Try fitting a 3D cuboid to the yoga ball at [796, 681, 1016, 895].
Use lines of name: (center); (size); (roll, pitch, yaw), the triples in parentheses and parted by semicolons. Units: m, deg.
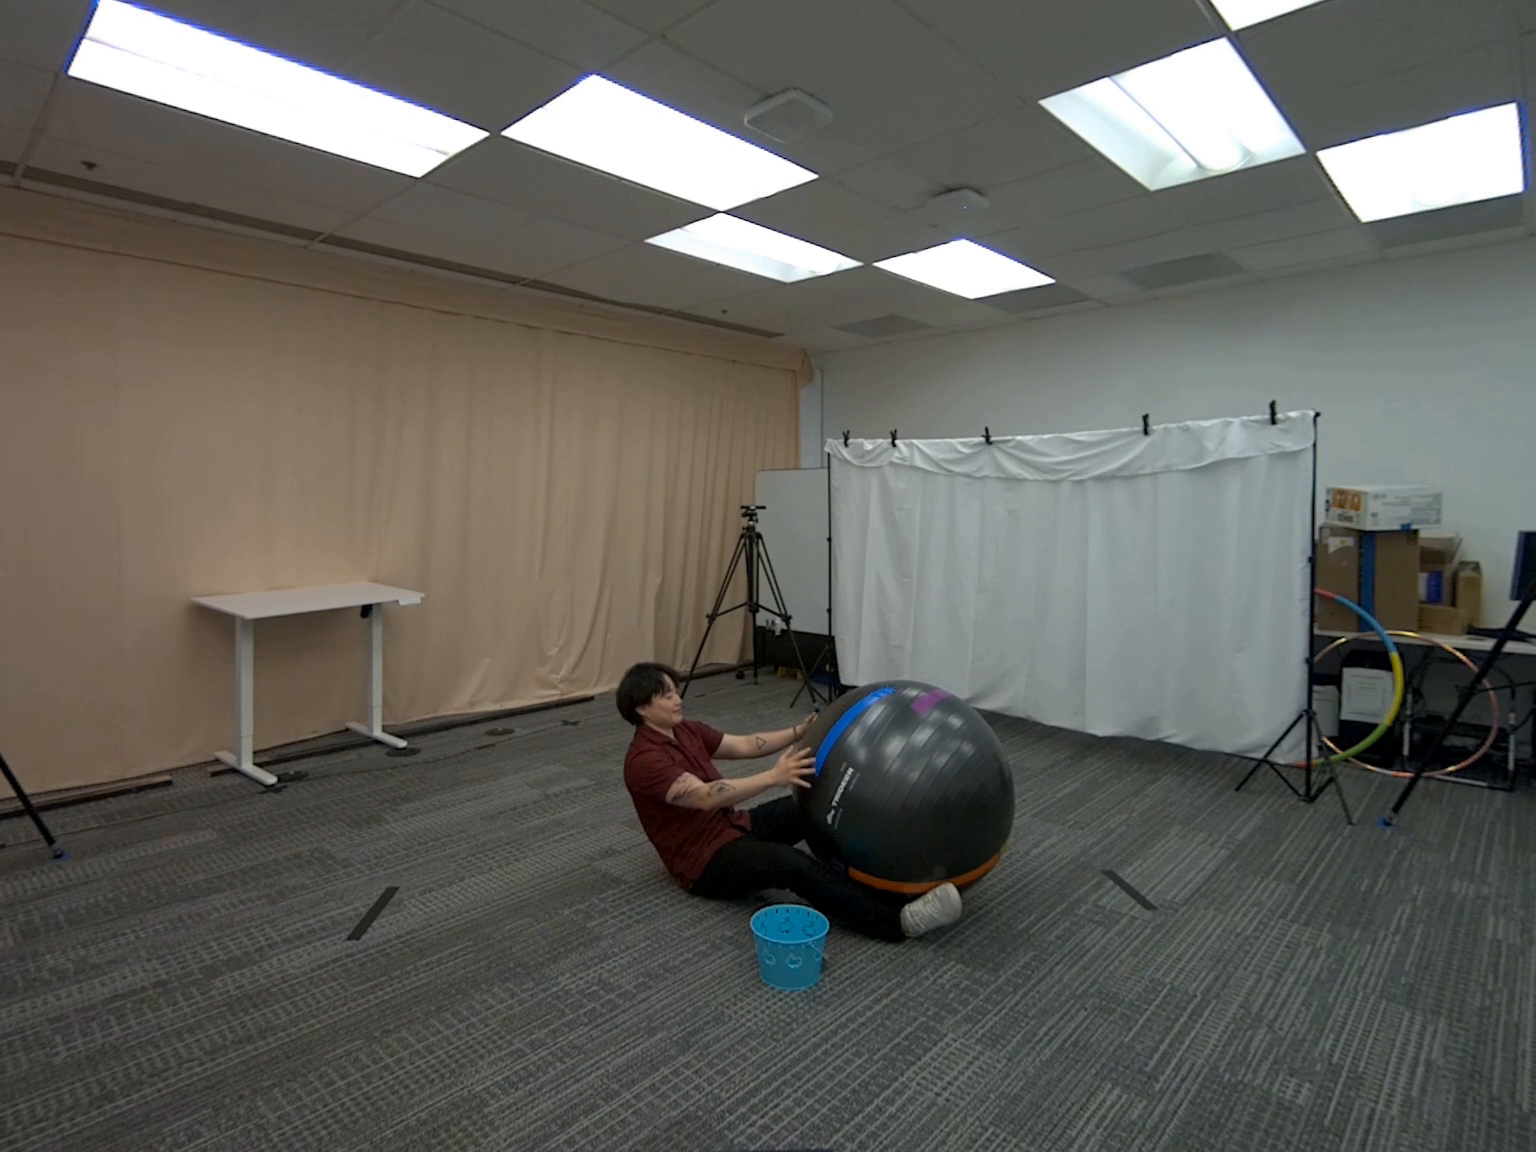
yoga ball: (0.475, 0.751, 2.966); (0.757, 0.756, 0.760); (0, 4, -2)
